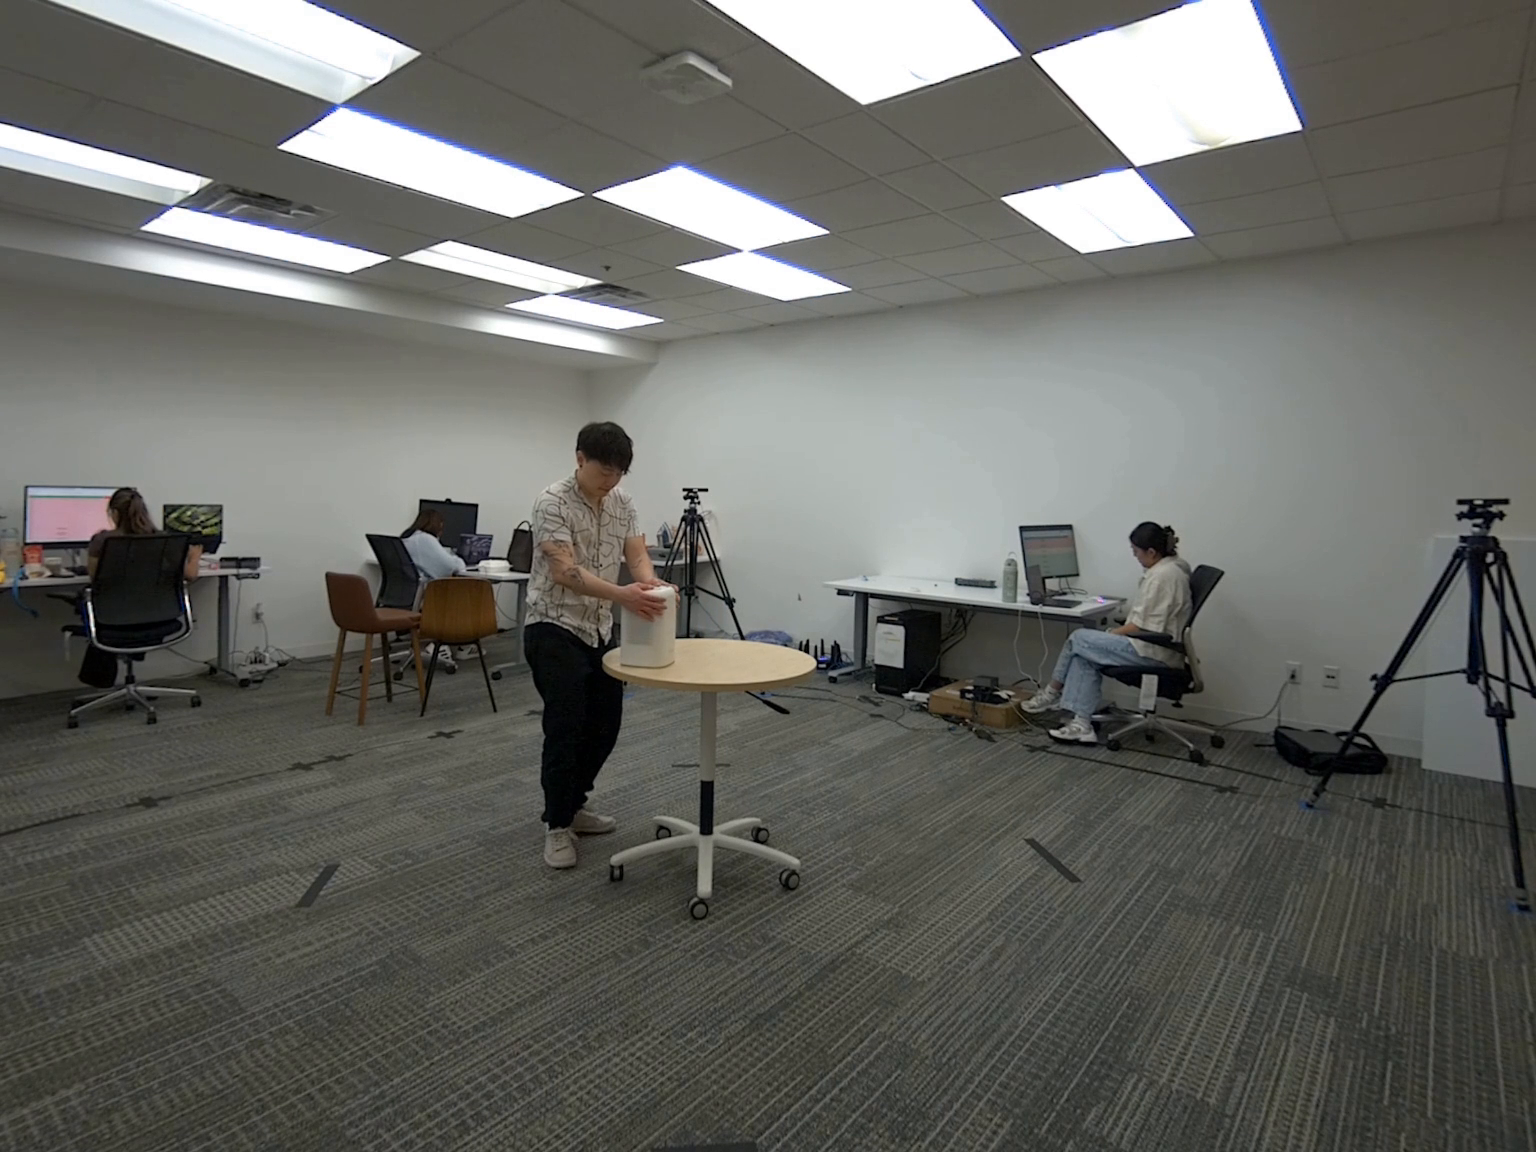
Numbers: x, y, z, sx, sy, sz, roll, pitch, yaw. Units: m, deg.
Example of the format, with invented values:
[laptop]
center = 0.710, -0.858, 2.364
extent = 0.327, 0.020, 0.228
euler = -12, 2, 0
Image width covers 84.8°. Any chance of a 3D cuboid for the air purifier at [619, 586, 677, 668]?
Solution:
[air purifier]
center = -0.426, 0.169, 2.957
extent = 0.174, 0.264, 0.169
euler = 1, 5, 15
